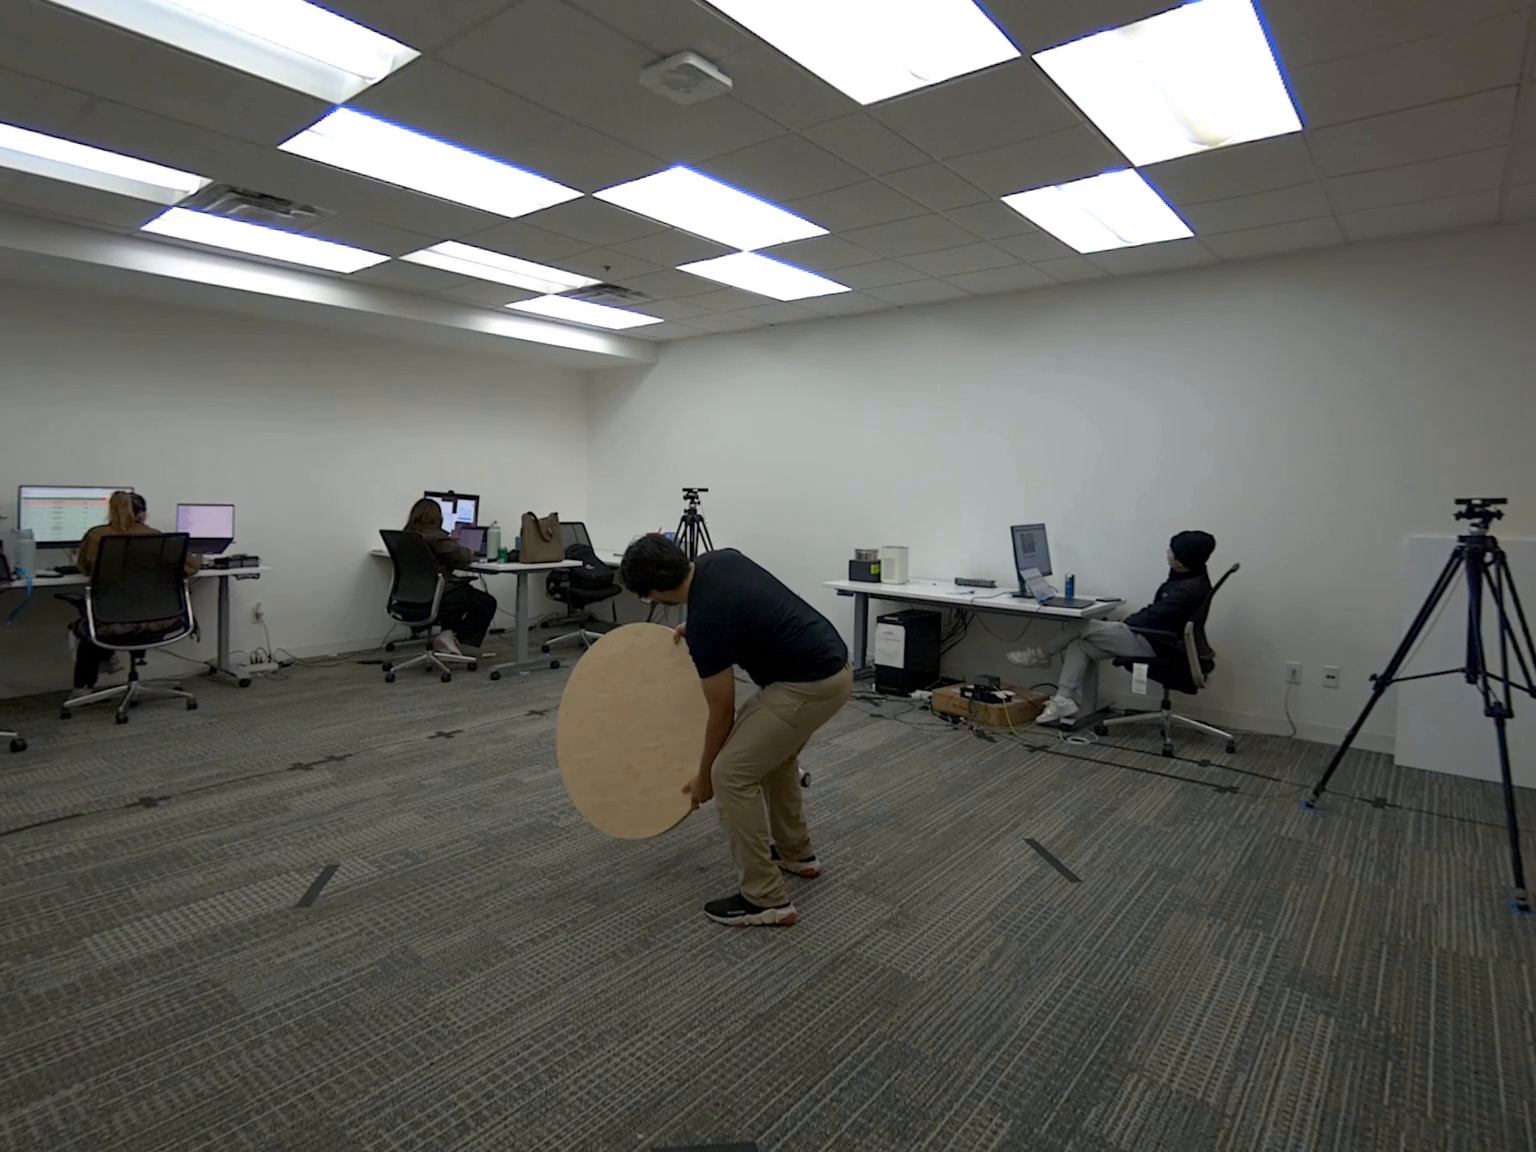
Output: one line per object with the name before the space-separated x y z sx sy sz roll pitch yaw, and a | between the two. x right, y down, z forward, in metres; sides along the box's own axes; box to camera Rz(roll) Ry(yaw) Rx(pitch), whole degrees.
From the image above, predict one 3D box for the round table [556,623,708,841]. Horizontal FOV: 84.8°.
round table | -0.299 0.607 3.405 0.810 0.790 0.757 4 -9 34
